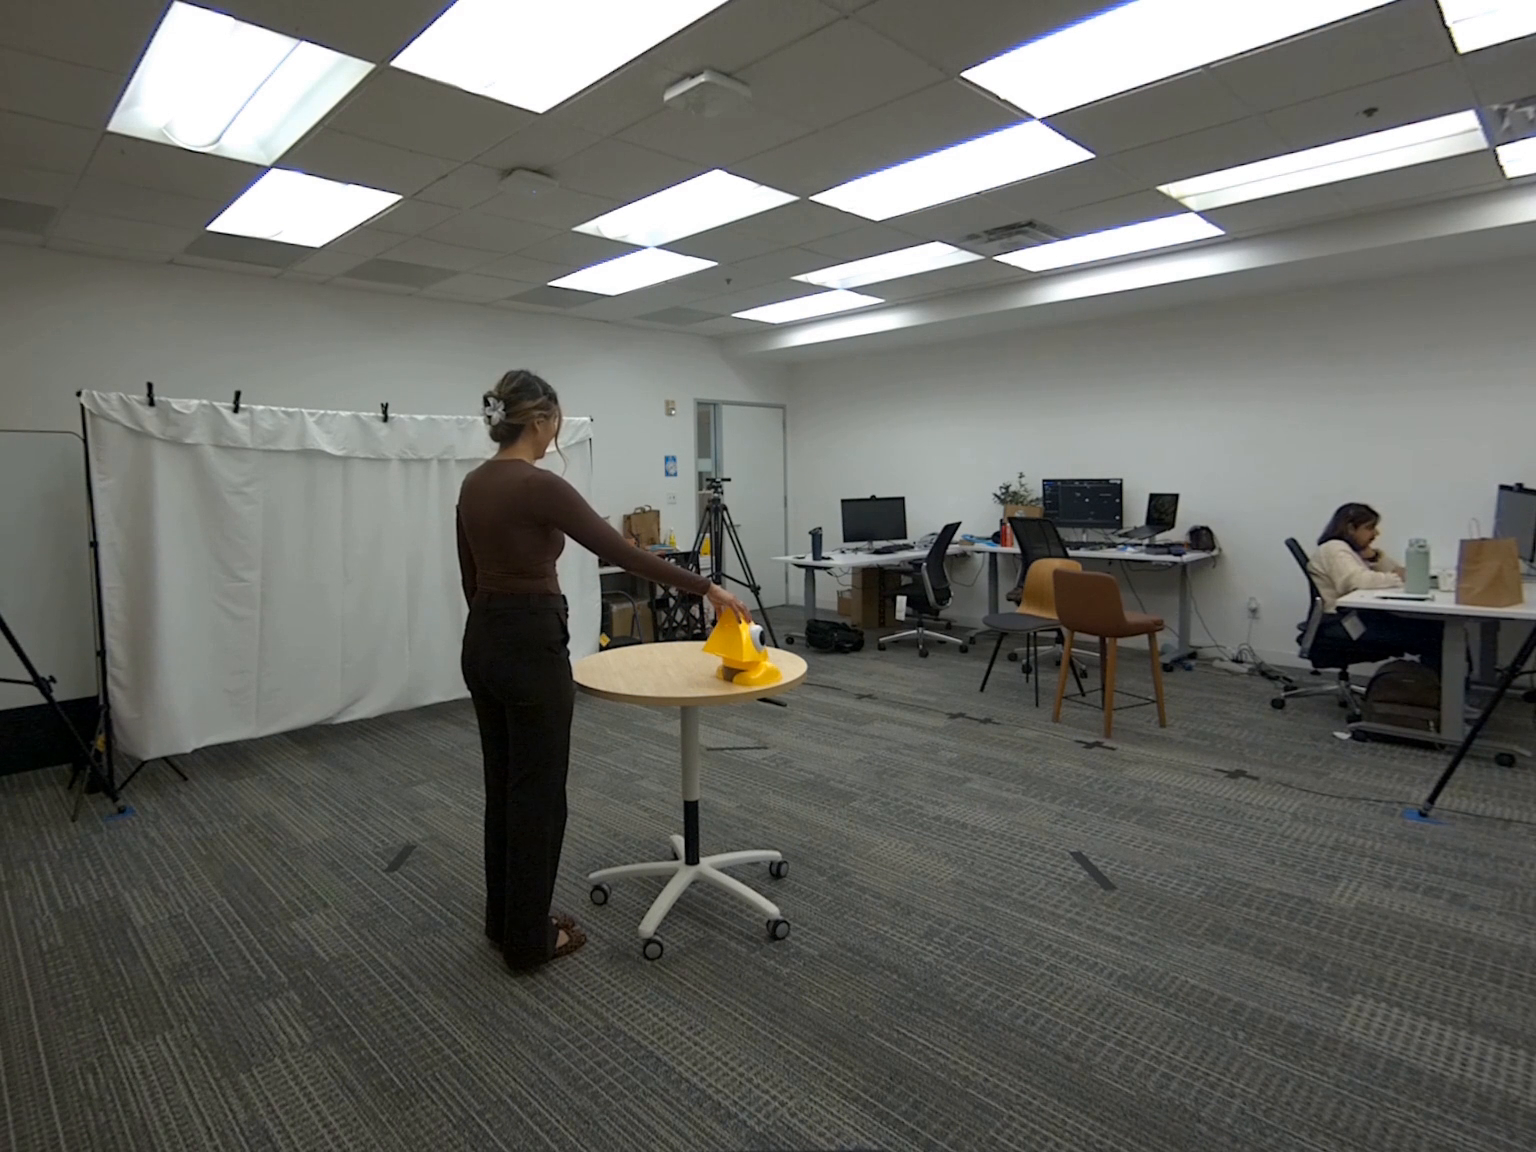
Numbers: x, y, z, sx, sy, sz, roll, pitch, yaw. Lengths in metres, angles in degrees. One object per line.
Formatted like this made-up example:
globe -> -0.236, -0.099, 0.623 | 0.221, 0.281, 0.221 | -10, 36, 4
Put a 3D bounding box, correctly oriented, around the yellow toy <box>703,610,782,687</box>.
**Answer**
yellow toy -> -0.066, 0.194, 2.584 | 0.188, 0.230, 0.211 | -4, 7, -39
